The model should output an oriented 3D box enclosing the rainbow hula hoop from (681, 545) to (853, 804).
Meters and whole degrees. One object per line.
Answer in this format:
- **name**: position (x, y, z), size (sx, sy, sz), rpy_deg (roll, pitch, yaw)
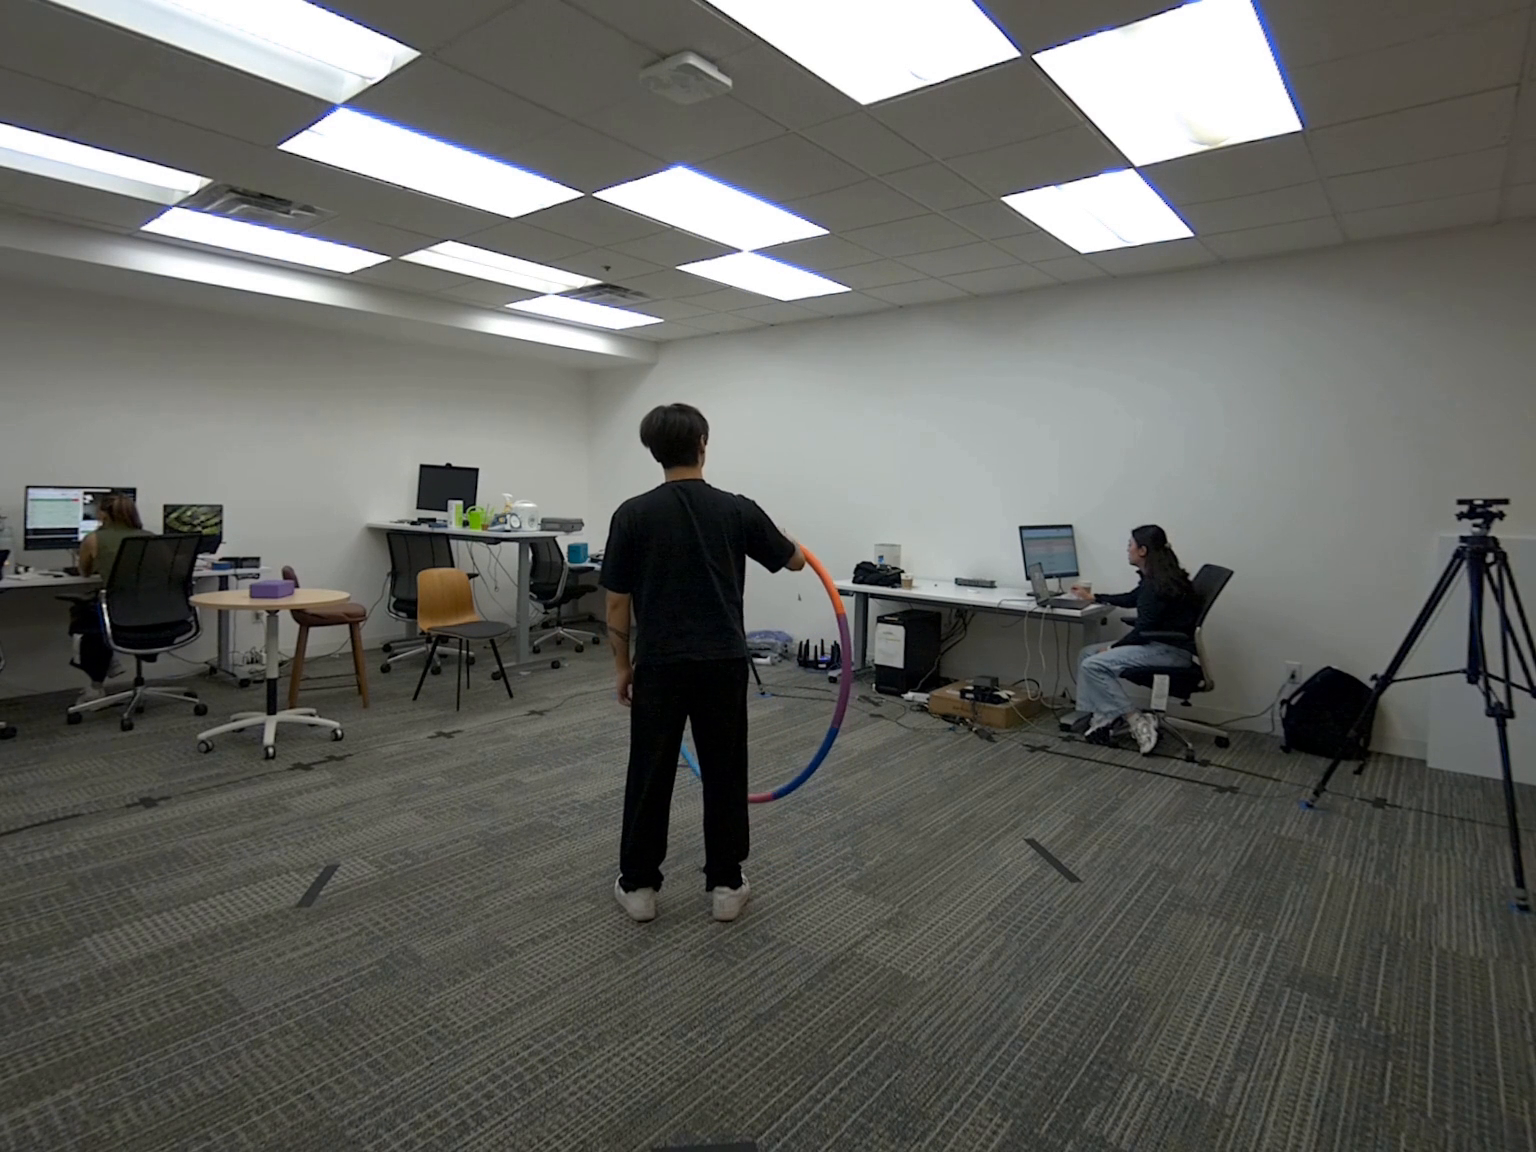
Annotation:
- **rainbow hula hoop**: position (-0.092, 0.322, 3.168), size (0.034, 0.980, 1.012), rpy_deg (9, -2, -44)
